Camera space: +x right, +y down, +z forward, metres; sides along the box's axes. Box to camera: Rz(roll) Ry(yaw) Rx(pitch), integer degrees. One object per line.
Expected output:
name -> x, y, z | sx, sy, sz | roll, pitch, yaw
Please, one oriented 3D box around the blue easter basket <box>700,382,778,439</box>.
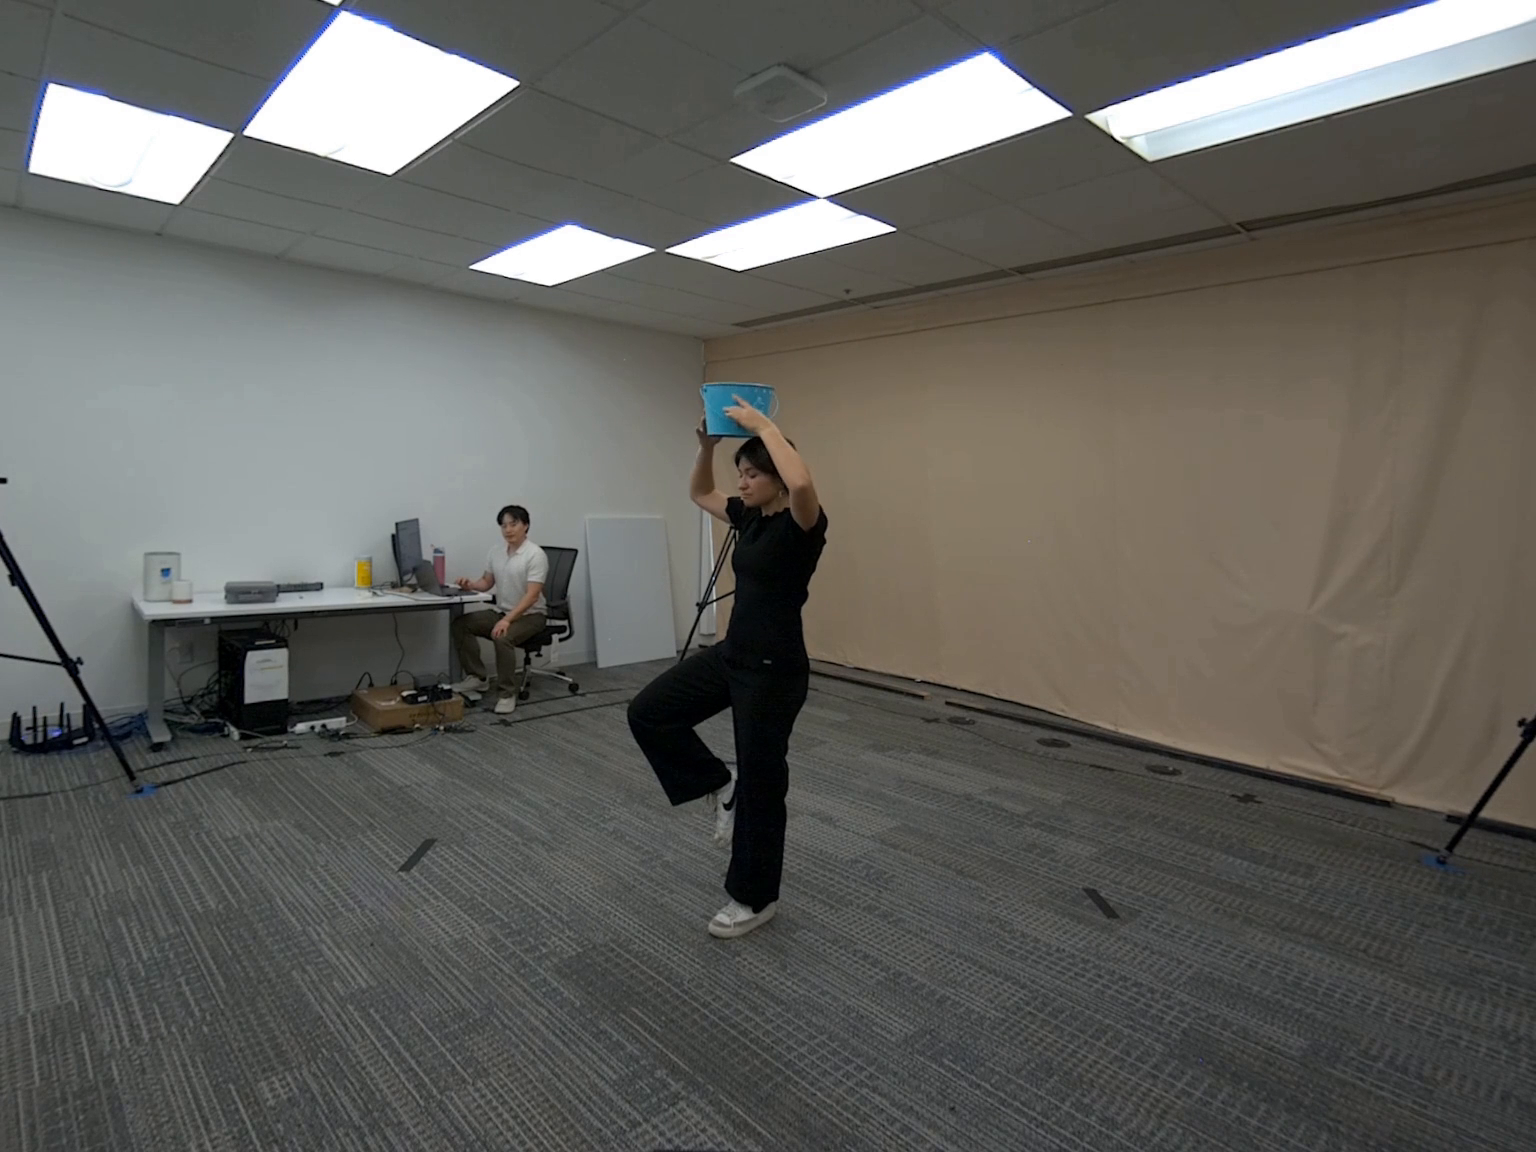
blue easter basket -> -0.105, -0.509, 2.611 | 0.243, 0.155, 0.245 | 1, 8, -1
